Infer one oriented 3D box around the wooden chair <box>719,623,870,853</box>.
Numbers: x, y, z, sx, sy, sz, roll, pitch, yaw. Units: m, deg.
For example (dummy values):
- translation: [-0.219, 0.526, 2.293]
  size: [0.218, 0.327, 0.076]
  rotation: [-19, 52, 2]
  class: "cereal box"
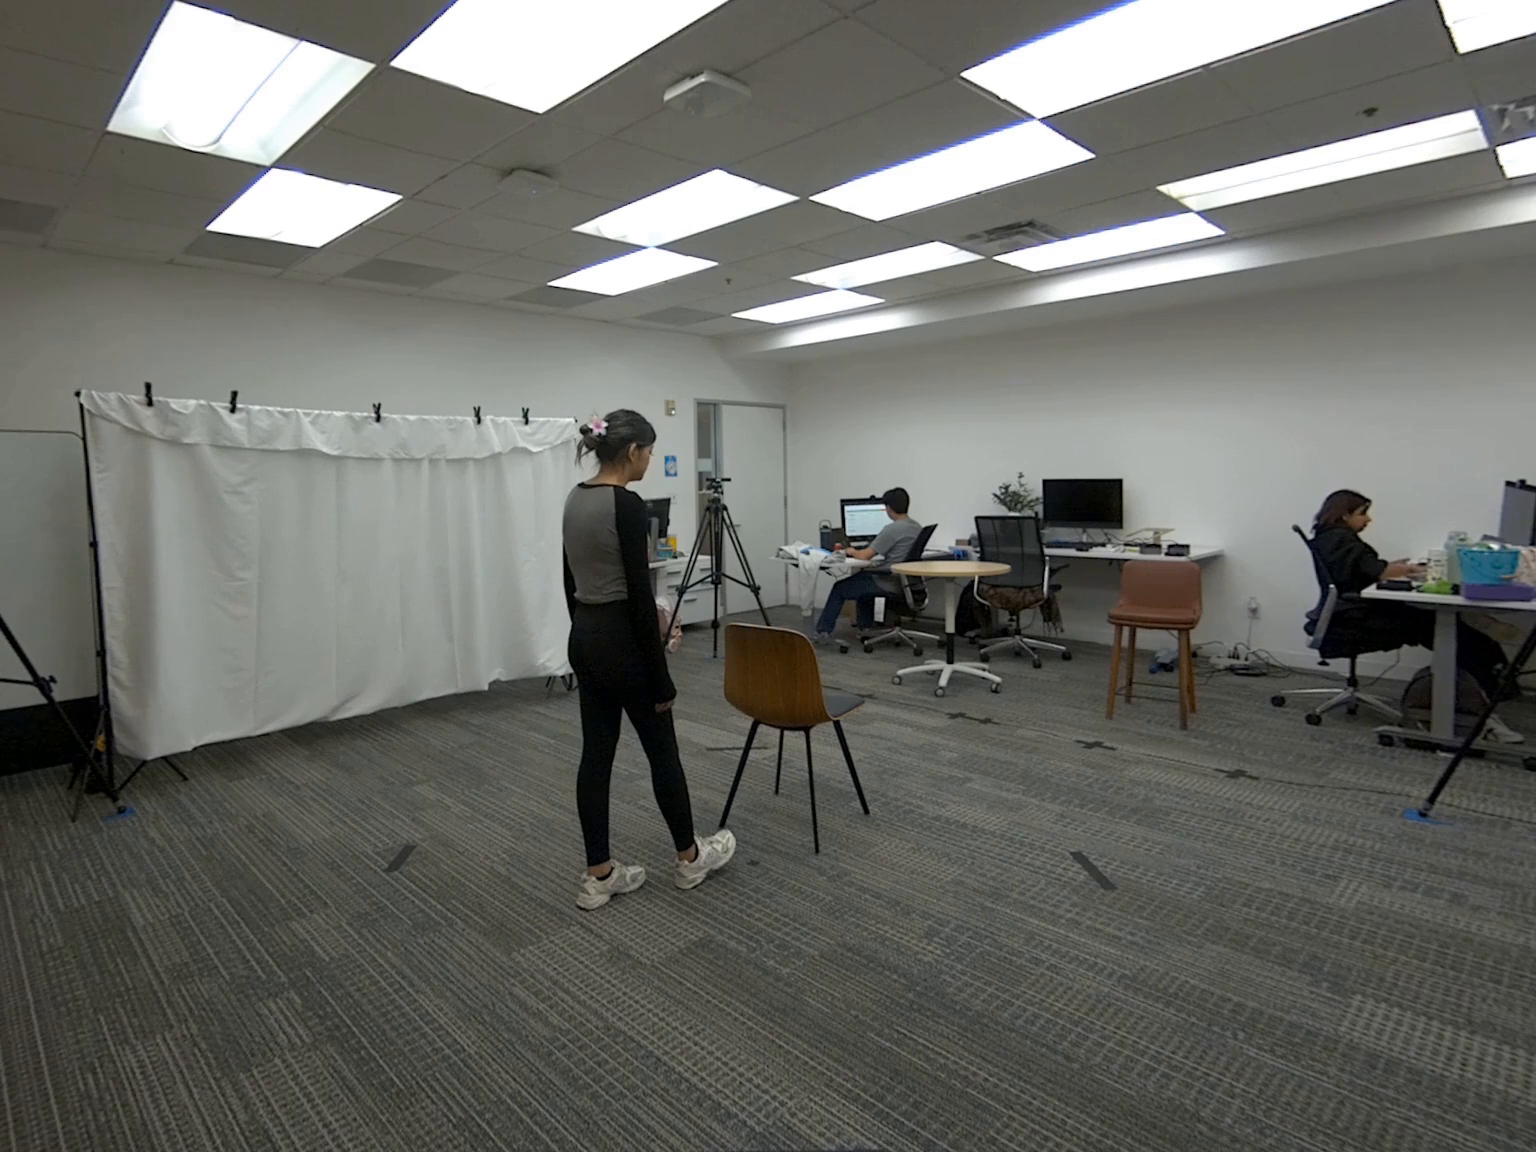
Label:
- translation: [0.107, 0.571, 3.454]
  size: [0.491, 0.871, 0.513]
  rotation: [2, 9, 33]
  class: "wooden chair"
